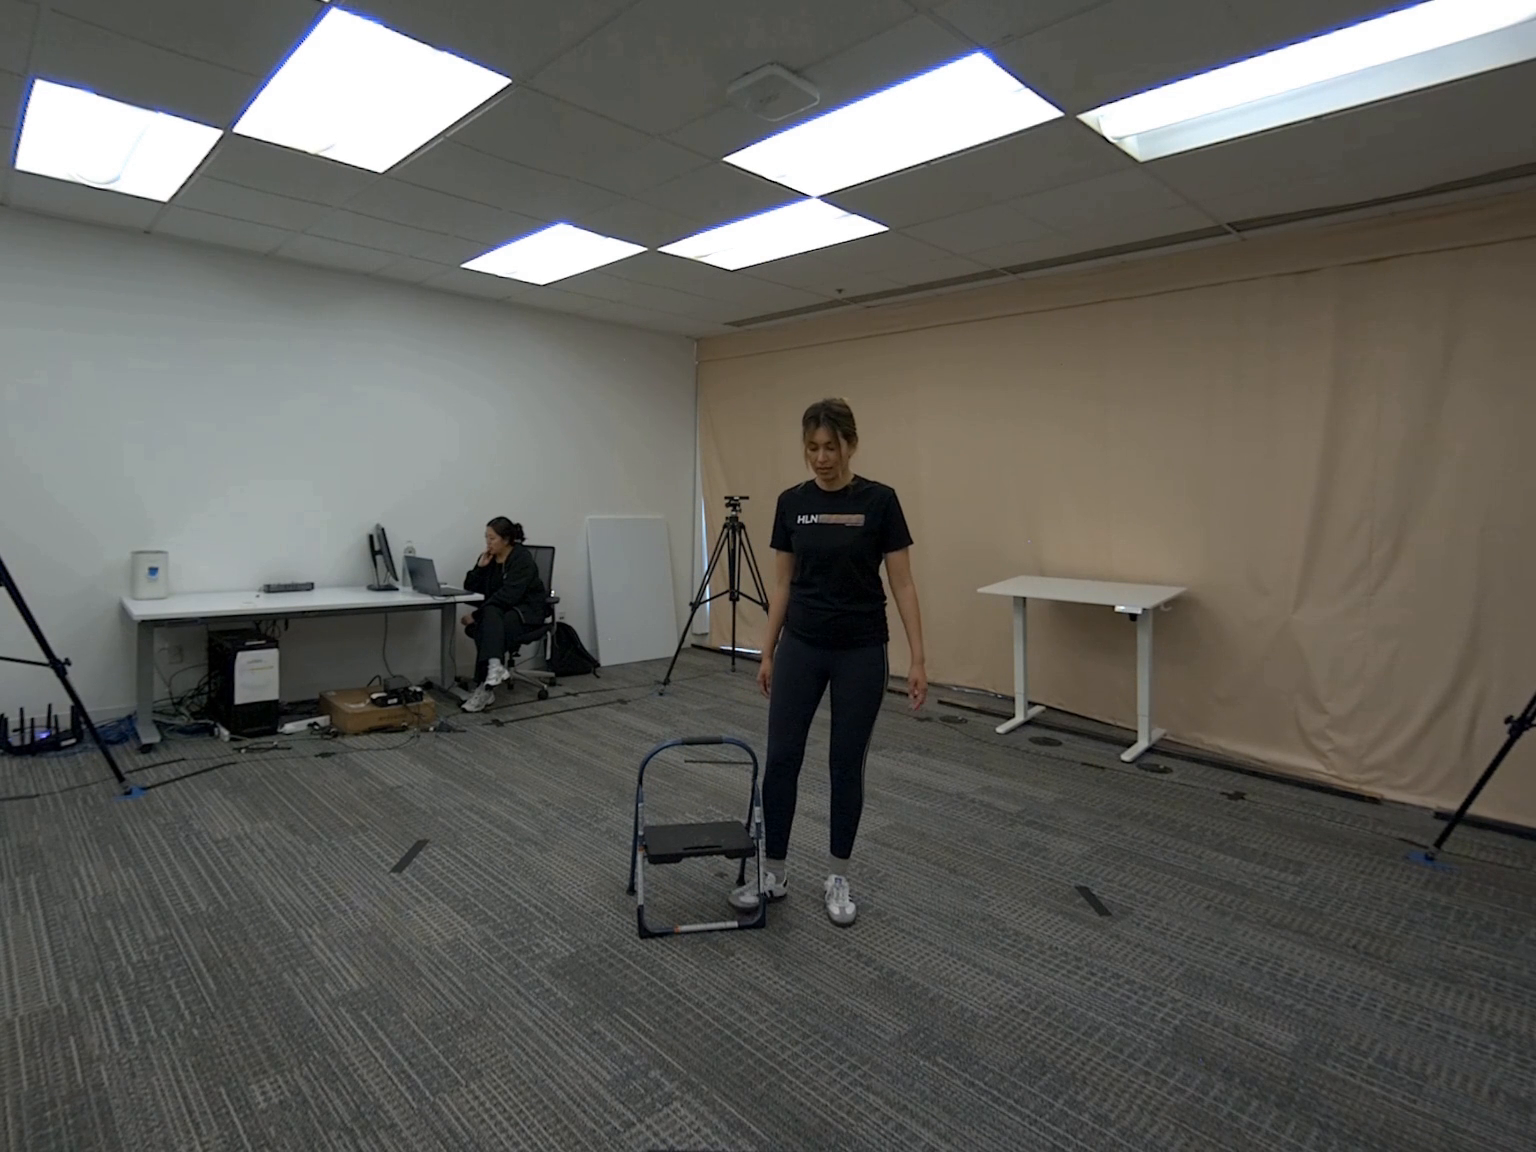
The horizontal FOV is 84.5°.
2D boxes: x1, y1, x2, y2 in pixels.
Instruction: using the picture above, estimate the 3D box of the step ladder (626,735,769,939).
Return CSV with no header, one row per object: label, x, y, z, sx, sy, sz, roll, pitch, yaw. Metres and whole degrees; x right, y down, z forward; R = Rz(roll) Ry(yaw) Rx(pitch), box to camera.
step ladder,-0.250,0.824,2.822,0.426,0.604,0.354,1,4,-14
